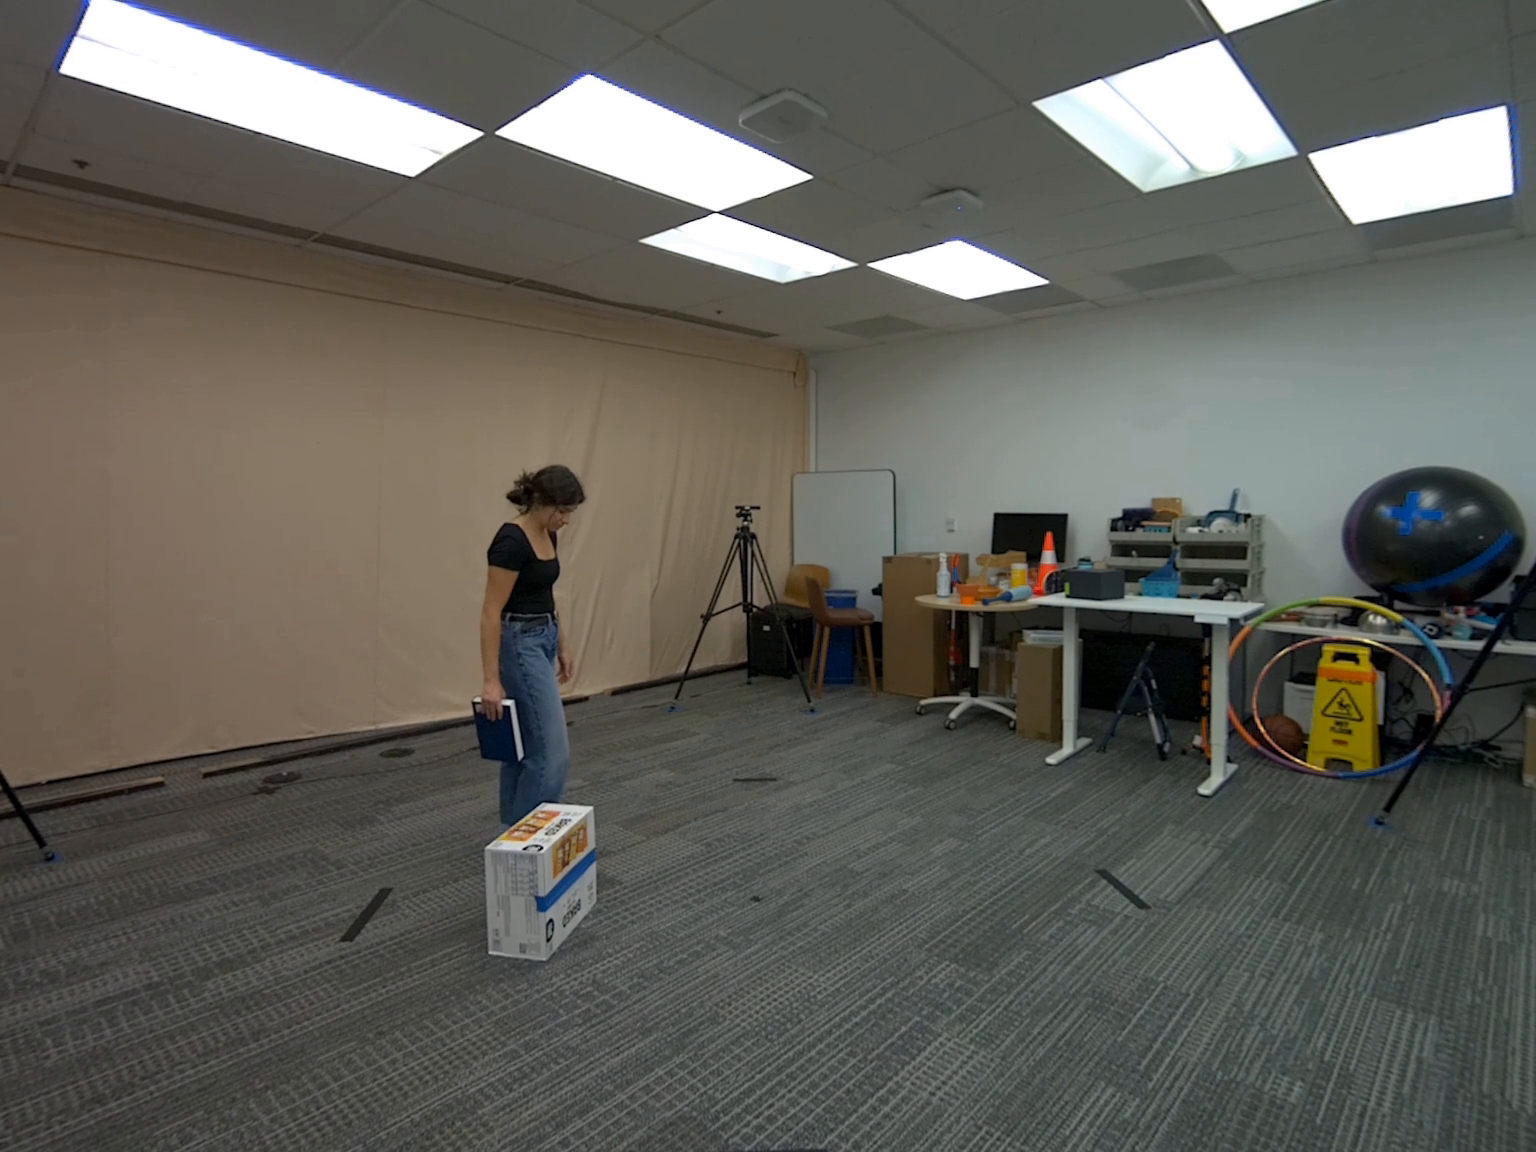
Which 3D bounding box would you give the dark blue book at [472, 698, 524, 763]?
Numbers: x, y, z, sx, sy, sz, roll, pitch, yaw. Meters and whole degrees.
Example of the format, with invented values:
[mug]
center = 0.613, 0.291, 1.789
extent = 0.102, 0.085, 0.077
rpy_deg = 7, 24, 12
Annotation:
[dark blue book]
center = -0.994, 0.563, 3.097
extent = 0.166, 0.242, 0.045
rpy_deg = 2, 19, 18
